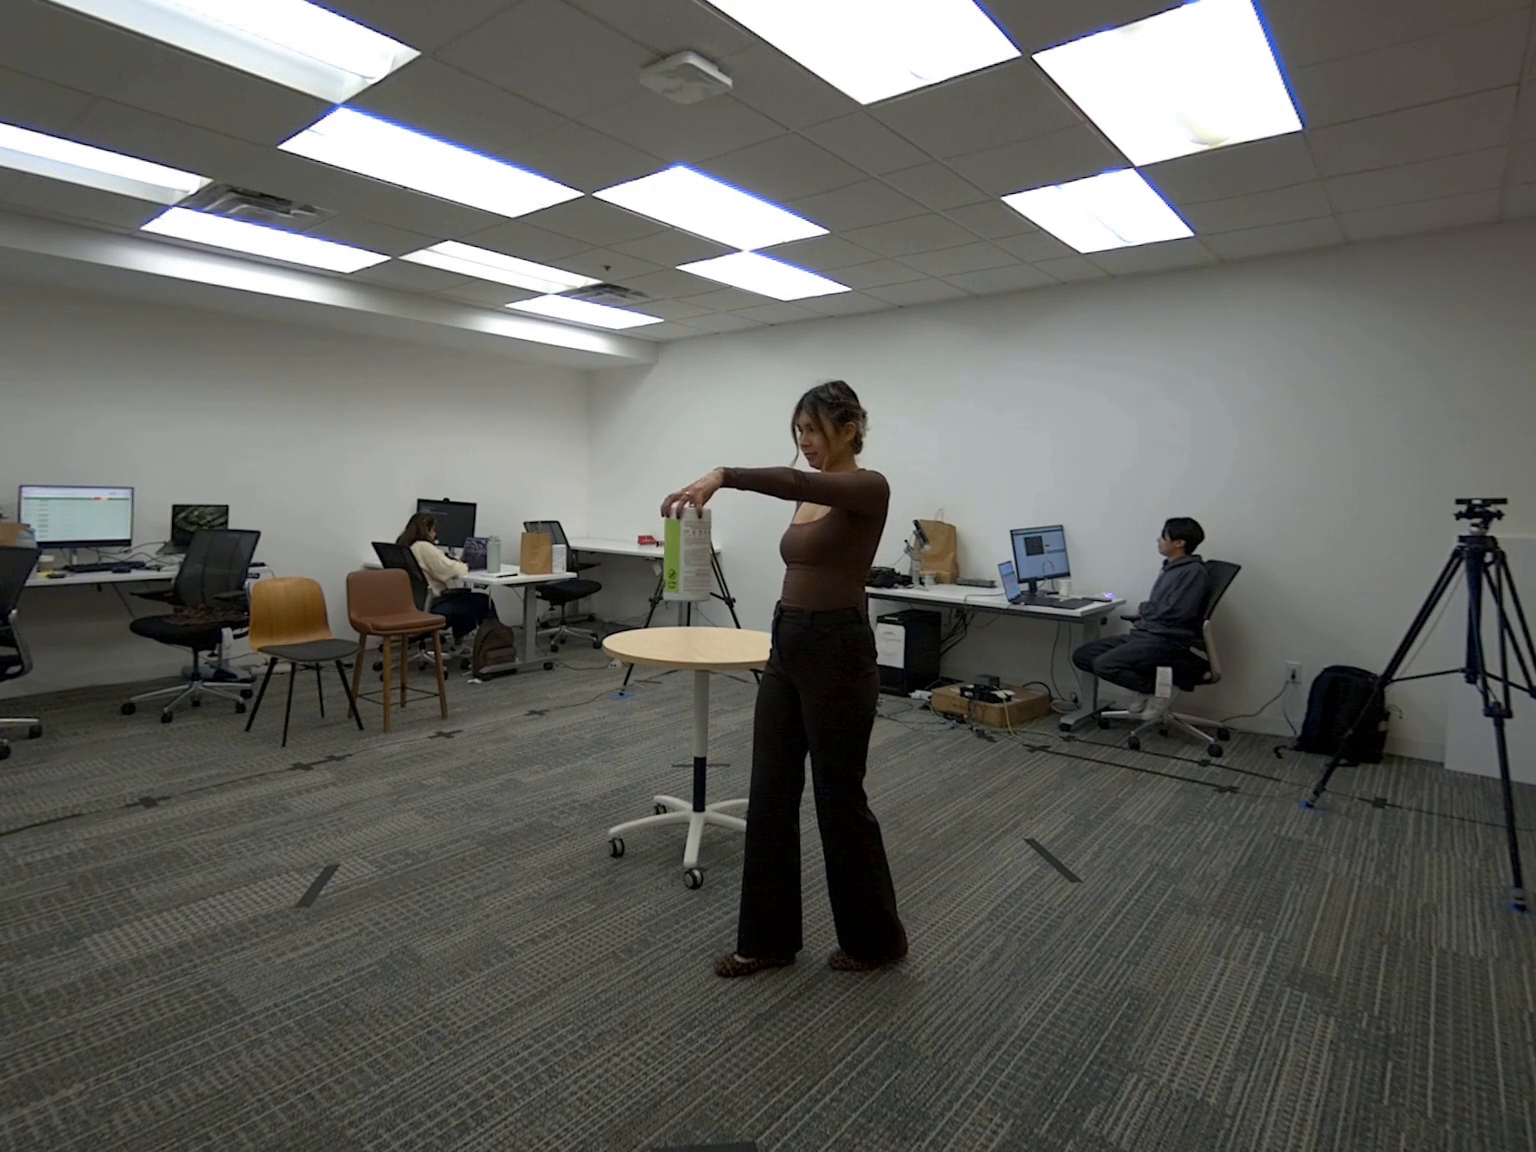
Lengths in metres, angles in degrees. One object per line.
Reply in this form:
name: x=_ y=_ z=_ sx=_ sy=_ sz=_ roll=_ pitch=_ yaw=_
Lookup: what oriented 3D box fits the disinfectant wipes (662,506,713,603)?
disinfectant wipes: x=-0.197 y=-0.050 z=1.981 sx=0.118 sy=0.218 sz=0.118 roll=0 pitch=-1 yaw=-2
